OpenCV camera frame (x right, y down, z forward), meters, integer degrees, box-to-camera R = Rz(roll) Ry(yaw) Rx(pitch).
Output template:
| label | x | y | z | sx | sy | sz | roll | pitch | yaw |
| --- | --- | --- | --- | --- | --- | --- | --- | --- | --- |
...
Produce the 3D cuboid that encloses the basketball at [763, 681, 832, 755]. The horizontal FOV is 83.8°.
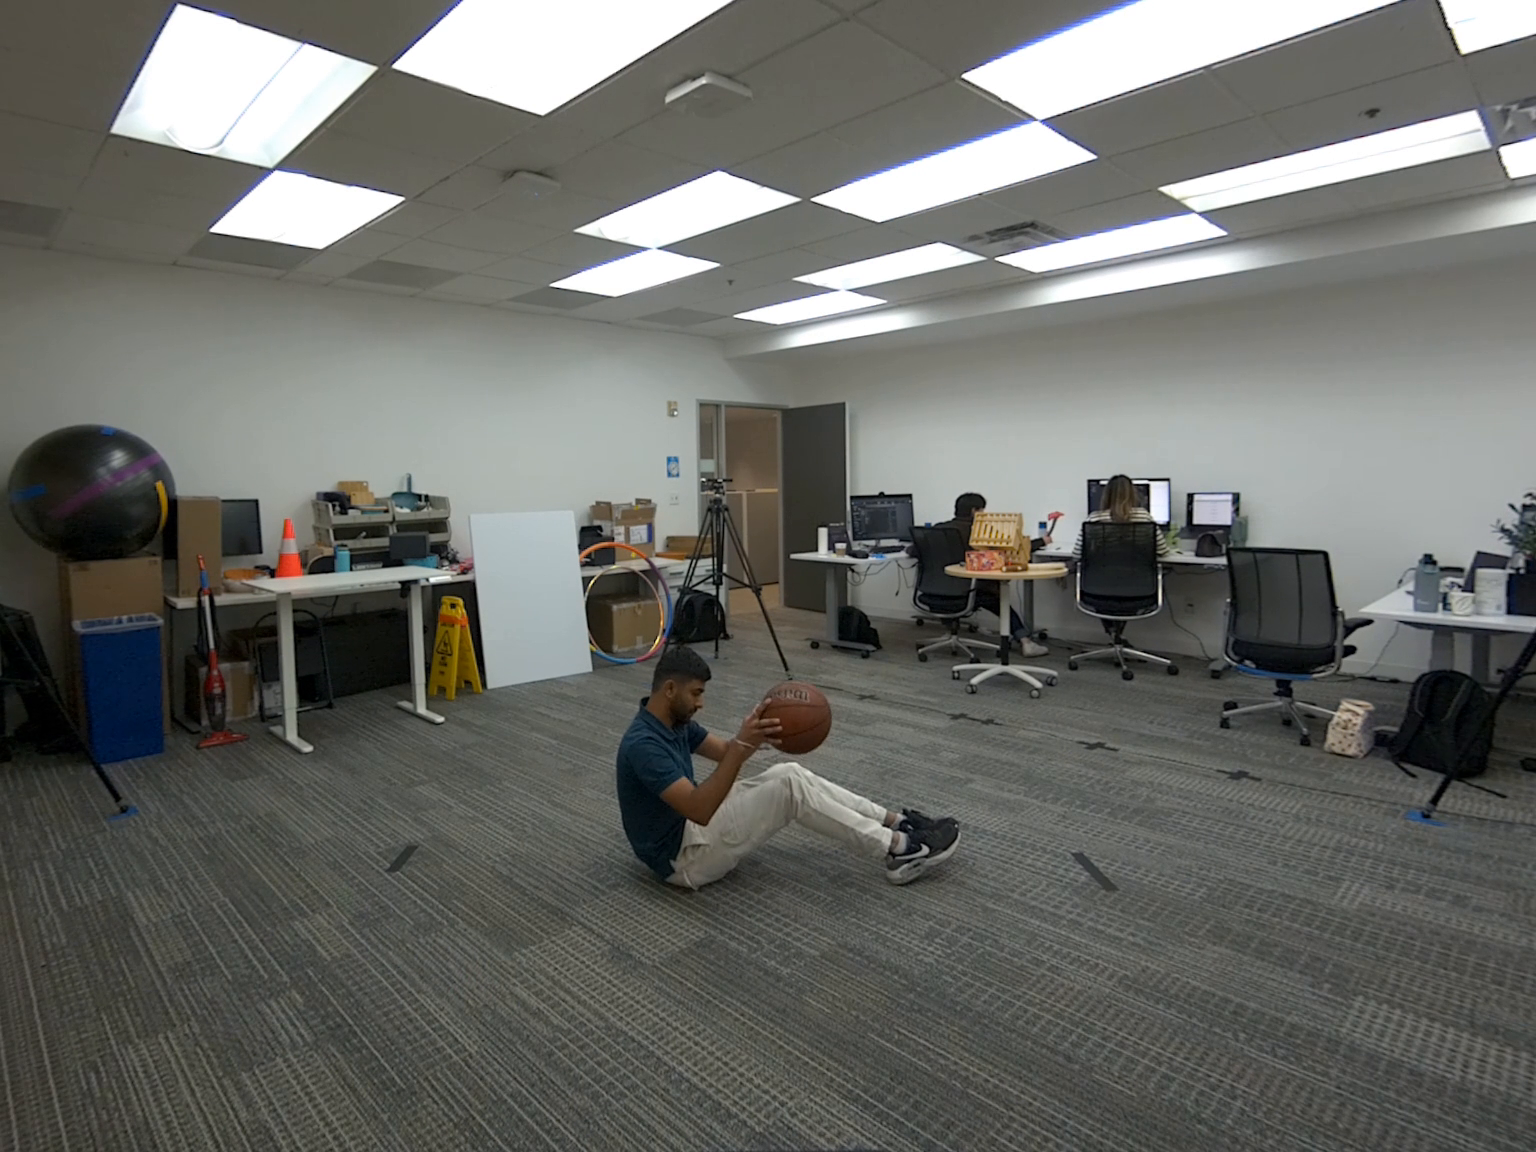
| label | x | y | z | sx | sy | sz | roll | pitch | yaw |
| --- | --- | --- | --- | --- | --- | --- | --- | --- | --- |
| basketball | 0.092 | 0.464 | 2.800 | 0.236 | 0.235 | 0.237 | -1 | 5 | -2 |
